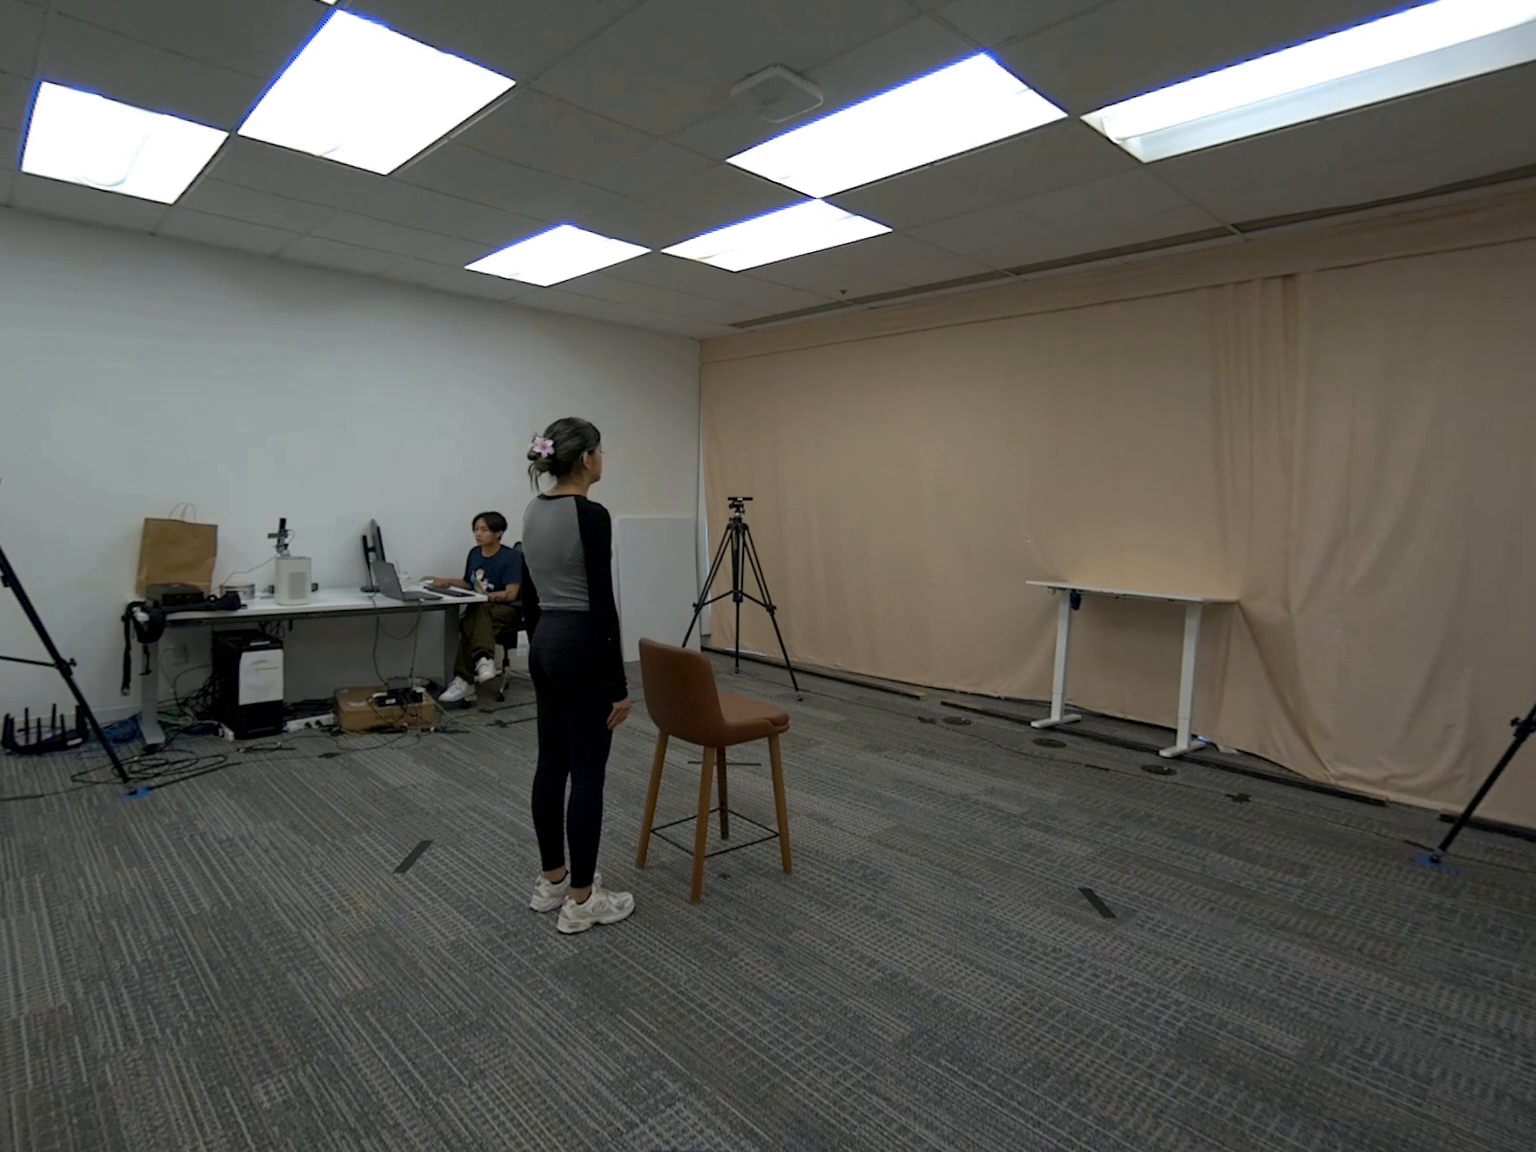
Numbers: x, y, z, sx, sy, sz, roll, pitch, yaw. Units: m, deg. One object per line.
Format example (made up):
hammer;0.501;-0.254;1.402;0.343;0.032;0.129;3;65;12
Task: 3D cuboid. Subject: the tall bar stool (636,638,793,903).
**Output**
tall bar stool;-0.216;0.666;3.137;0.457;0.887;0.468;-5;6;-40
